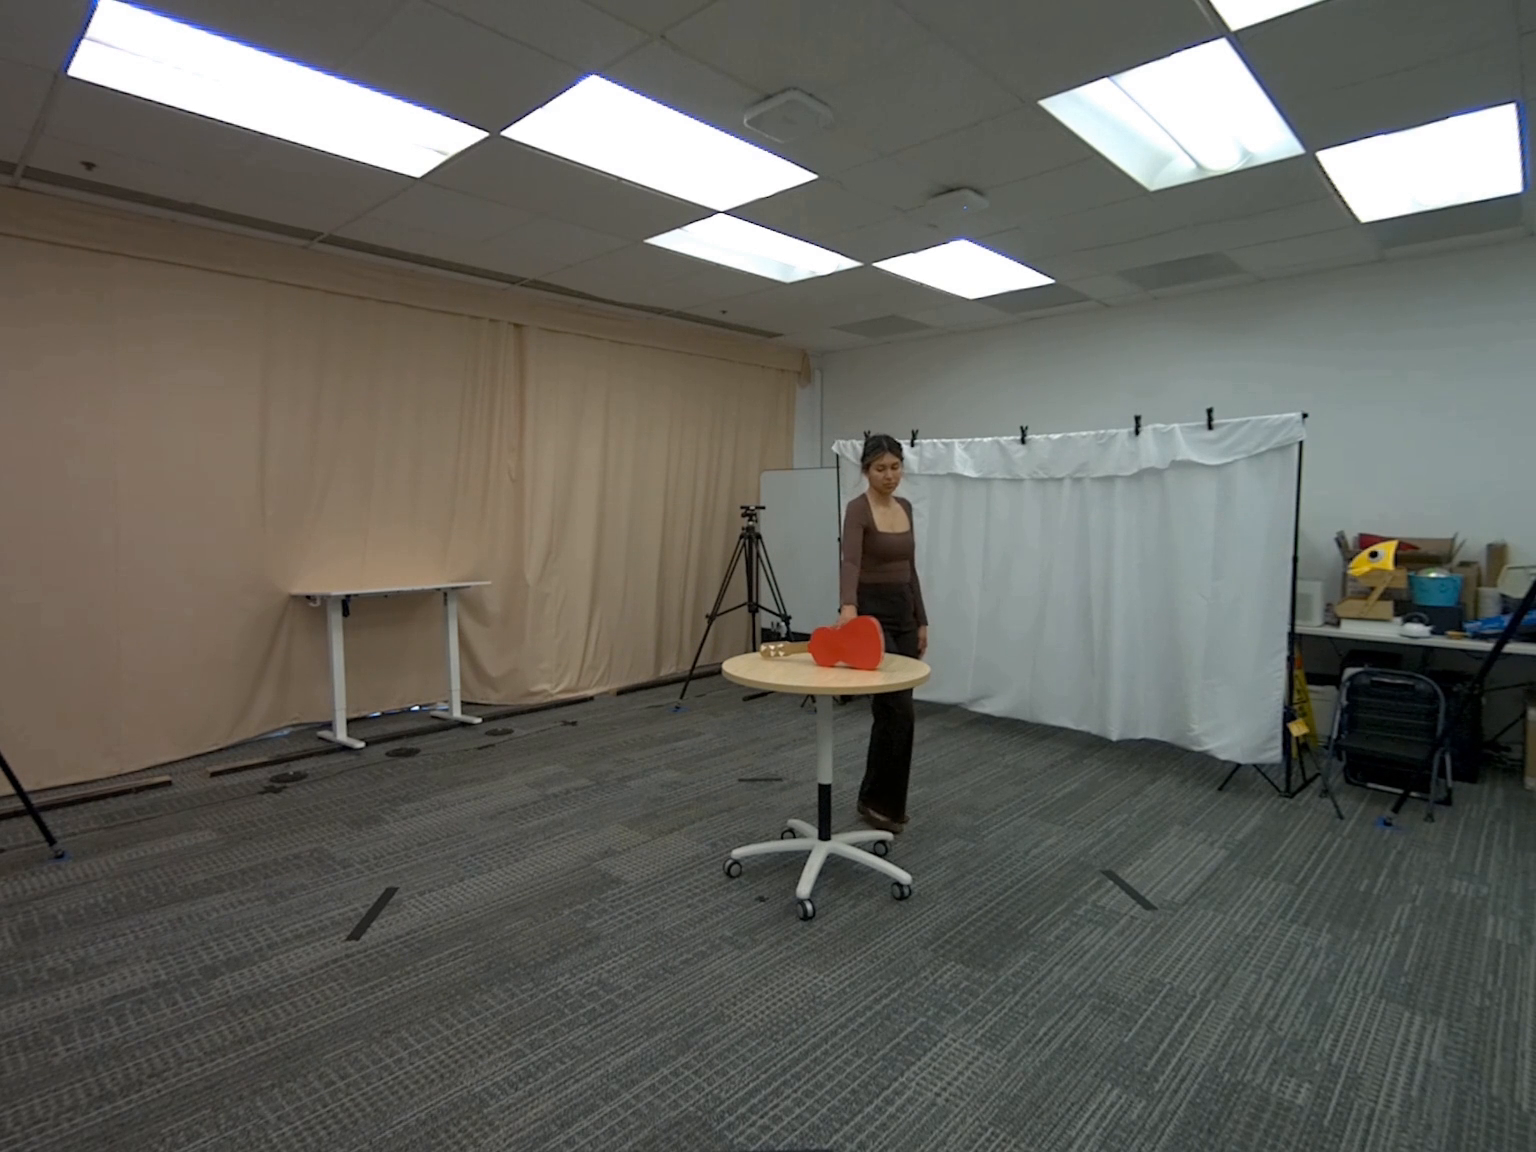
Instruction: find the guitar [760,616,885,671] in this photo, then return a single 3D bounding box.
[{"bbox_3d":[0.196,0.291,3.141,0.508,0.194,0.069,-17,-6,26],"label":"guitar"}]
